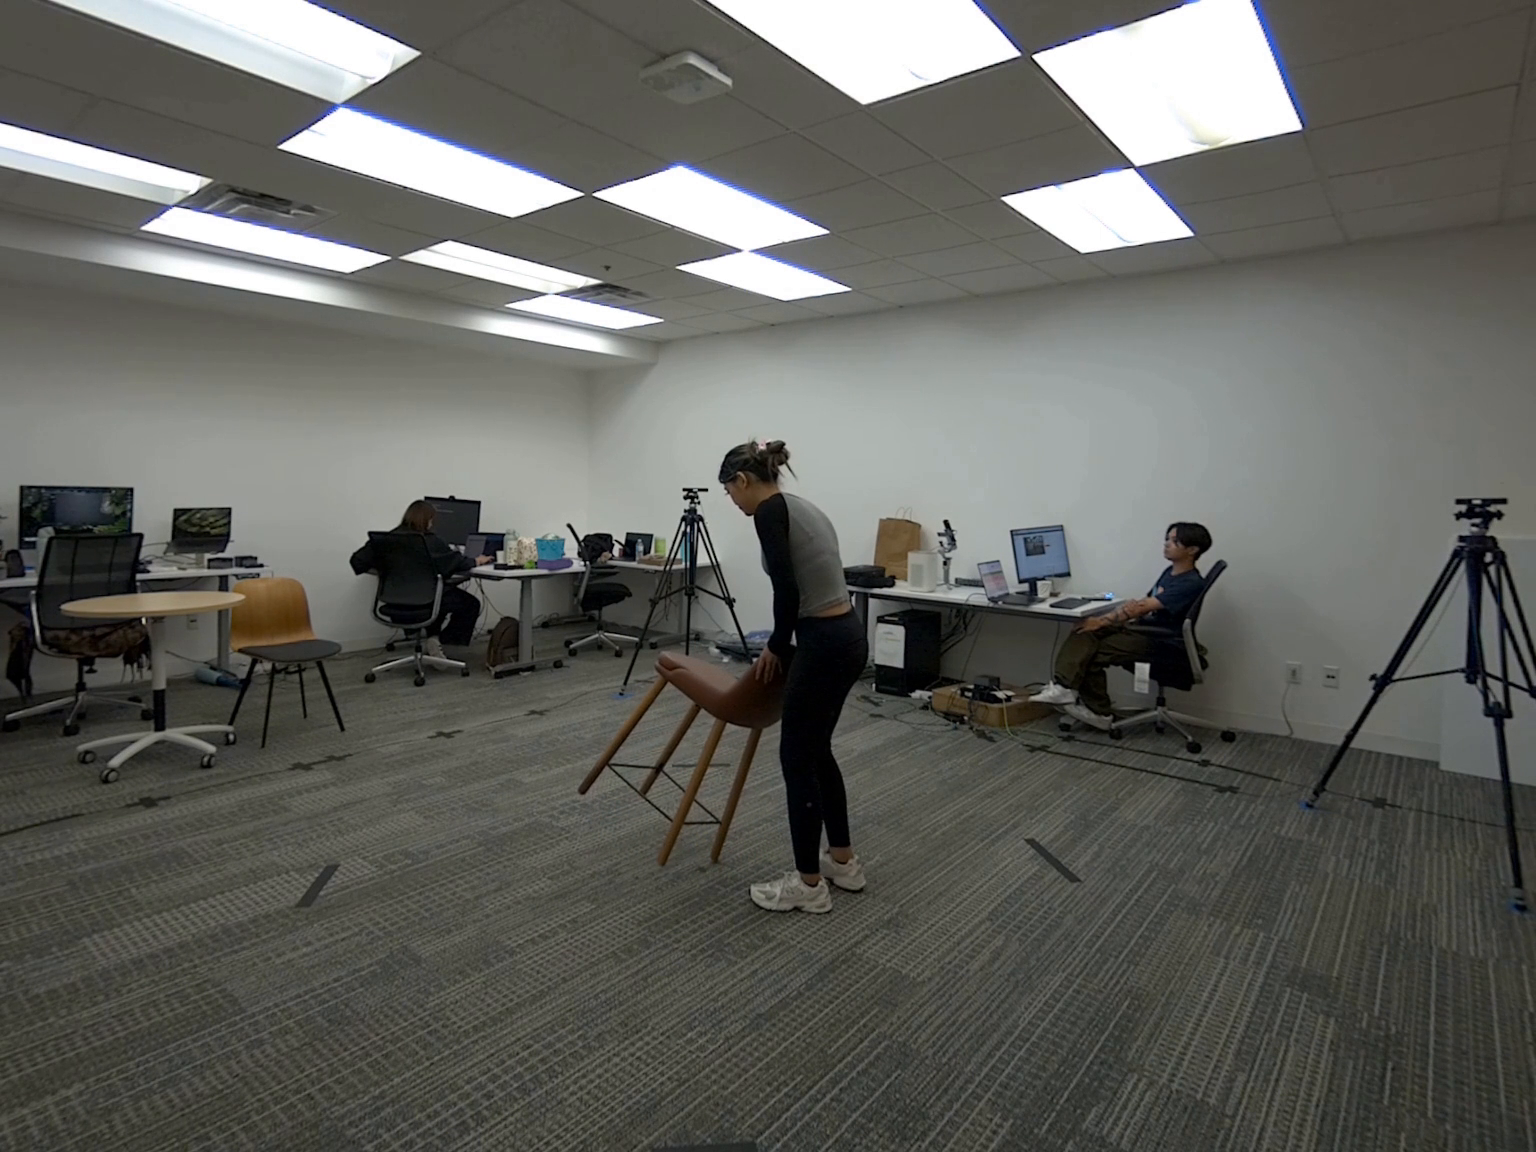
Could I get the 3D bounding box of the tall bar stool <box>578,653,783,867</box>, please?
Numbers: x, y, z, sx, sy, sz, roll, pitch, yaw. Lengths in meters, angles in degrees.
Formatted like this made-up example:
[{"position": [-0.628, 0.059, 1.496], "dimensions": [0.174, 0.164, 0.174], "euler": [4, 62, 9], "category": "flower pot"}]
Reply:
[{"position": [-0.242, 0.553, 3.147], "dimensions": [0.487, 0.889, 0.439], "euler": [32, 3, 35], "category": "tall bar stool"}]
